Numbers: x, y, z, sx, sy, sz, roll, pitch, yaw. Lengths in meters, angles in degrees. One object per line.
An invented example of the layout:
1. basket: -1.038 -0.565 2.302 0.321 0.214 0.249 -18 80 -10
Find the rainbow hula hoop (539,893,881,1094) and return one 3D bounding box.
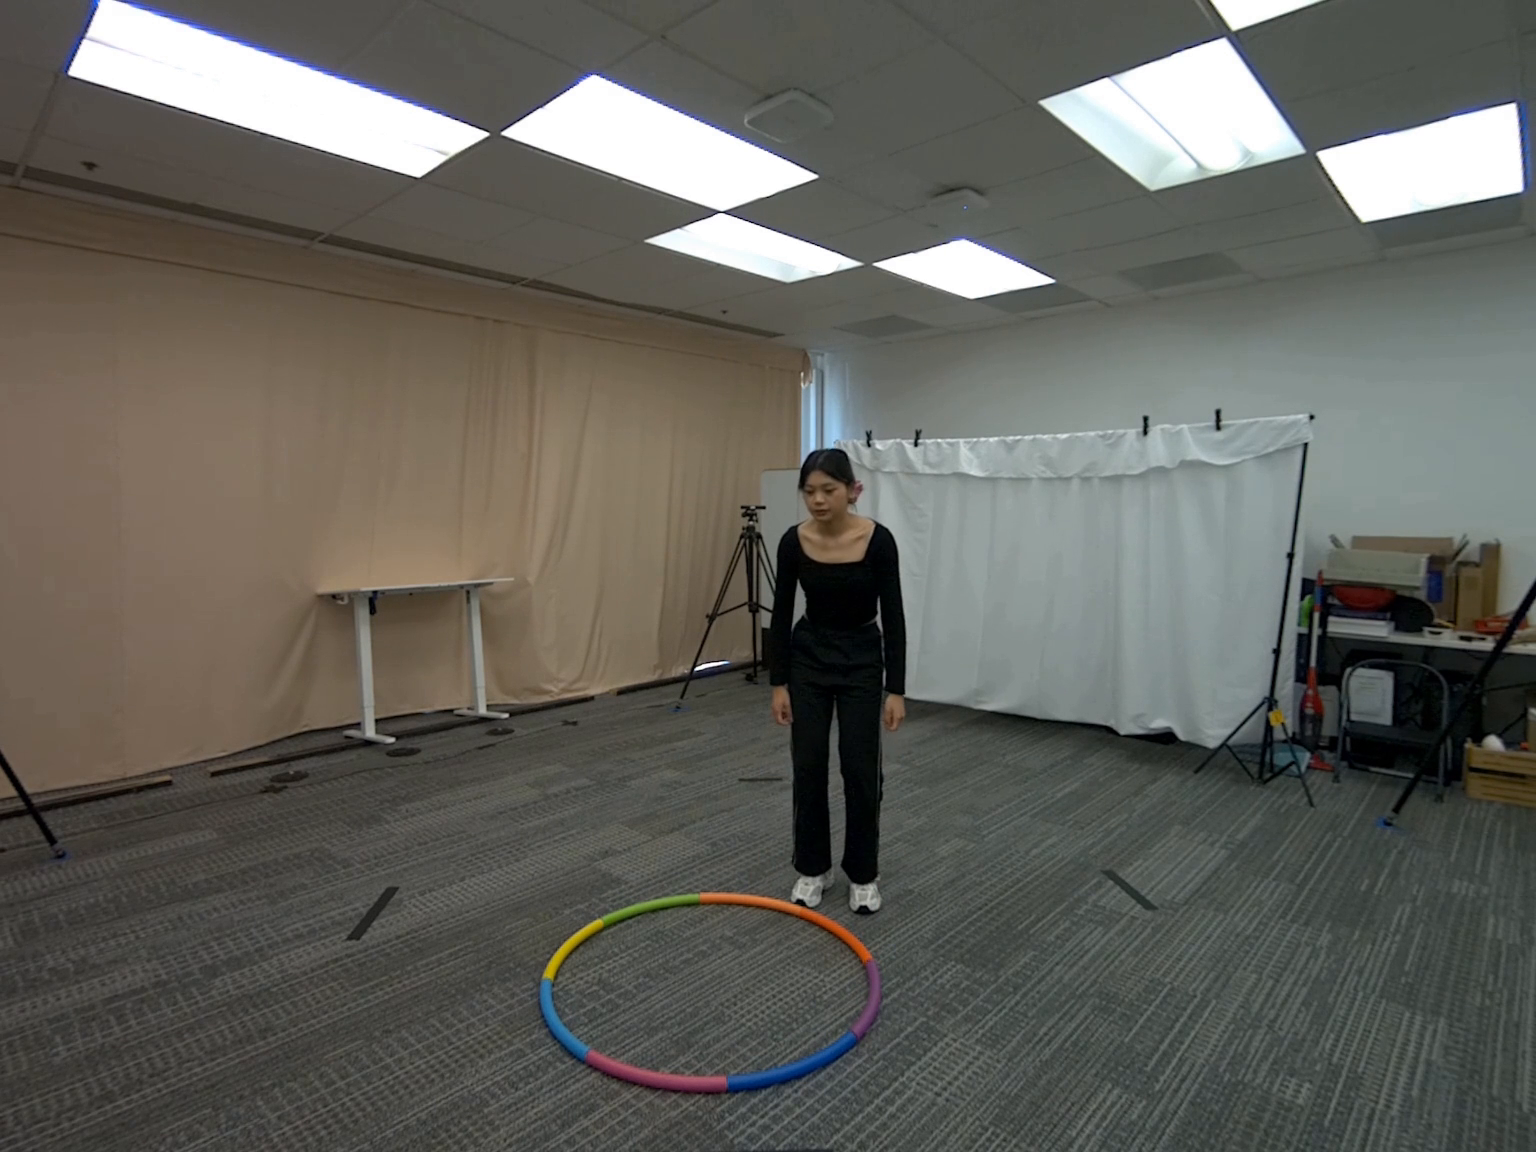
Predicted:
1. rainbow hula hoop: -0.166 1.158 2.480 0.978 0.035 0.982 0 4 -2
